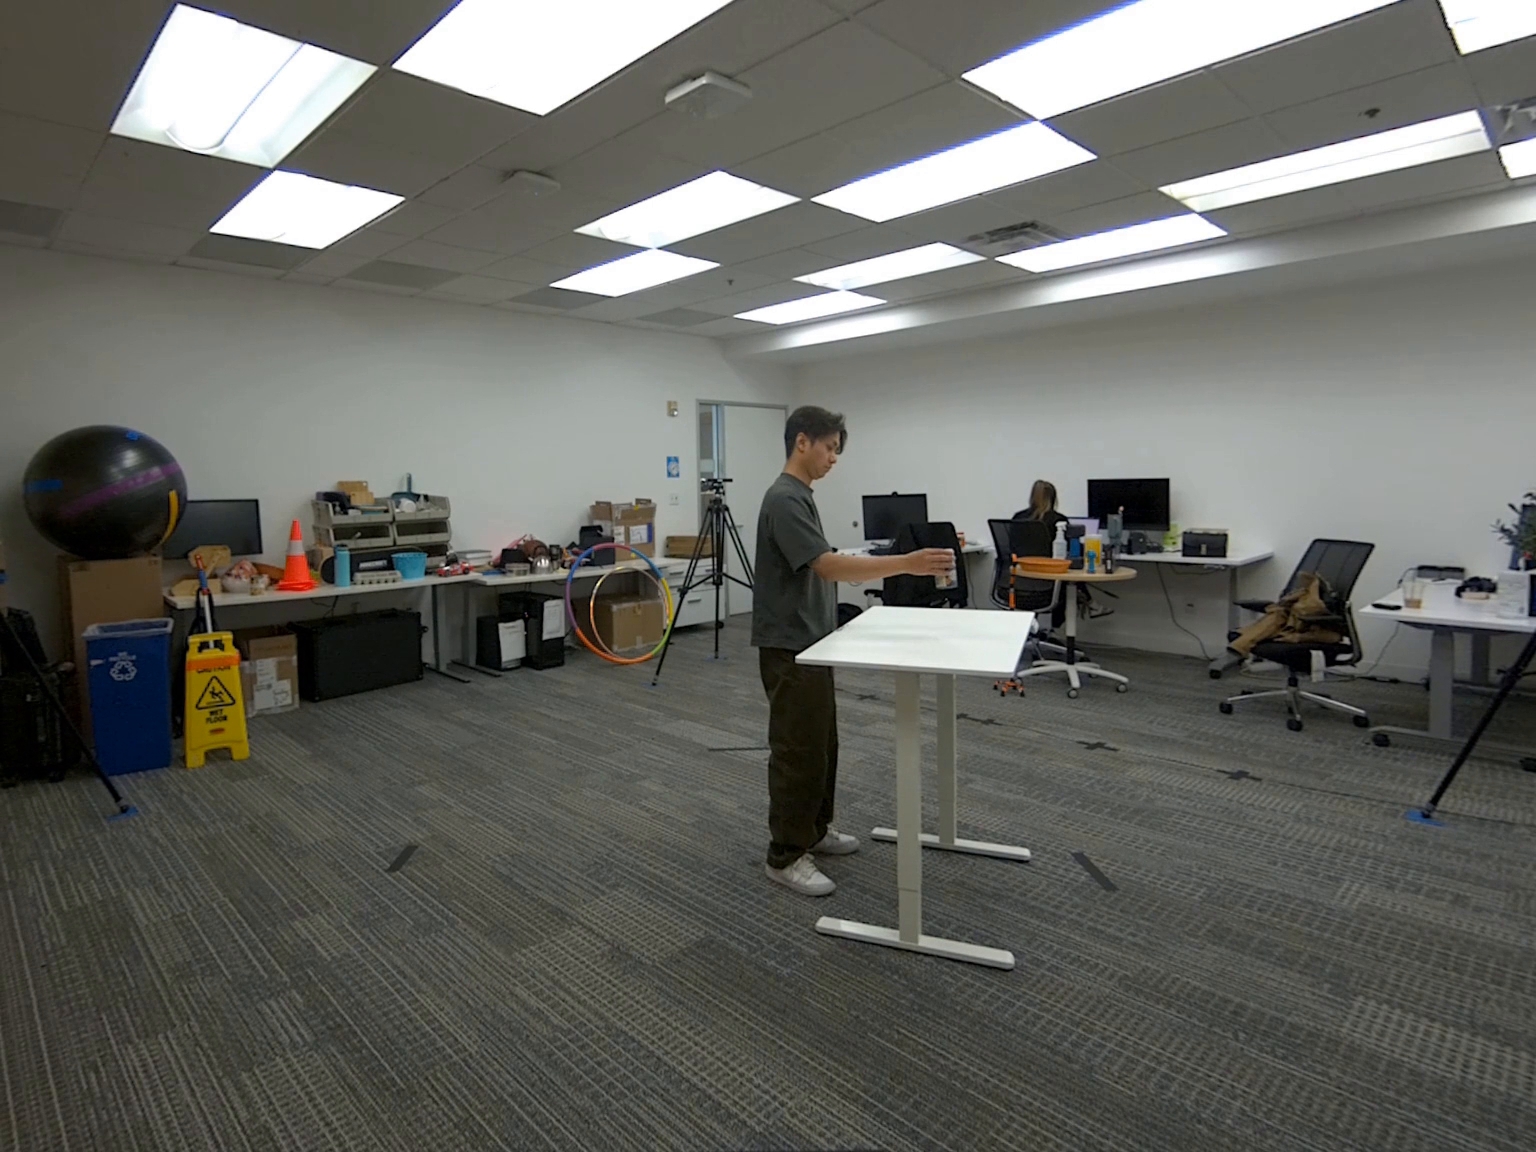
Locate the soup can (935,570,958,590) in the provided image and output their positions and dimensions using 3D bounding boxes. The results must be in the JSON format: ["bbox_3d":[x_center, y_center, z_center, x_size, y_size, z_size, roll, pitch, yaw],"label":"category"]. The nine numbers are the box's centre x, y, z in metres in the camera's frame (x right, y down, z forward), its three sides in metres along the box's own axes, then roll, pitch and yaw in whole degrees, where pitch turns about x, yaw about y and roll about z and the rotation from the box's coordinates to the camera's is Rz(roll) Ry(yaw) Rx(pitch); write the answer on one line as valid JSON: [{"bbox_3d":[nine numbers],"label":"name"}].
[{"bbox_3d":[0.554,-0.020,2.703,0.067,0.122,0.067,-7,-1,-2],"label":"soup can"}]
